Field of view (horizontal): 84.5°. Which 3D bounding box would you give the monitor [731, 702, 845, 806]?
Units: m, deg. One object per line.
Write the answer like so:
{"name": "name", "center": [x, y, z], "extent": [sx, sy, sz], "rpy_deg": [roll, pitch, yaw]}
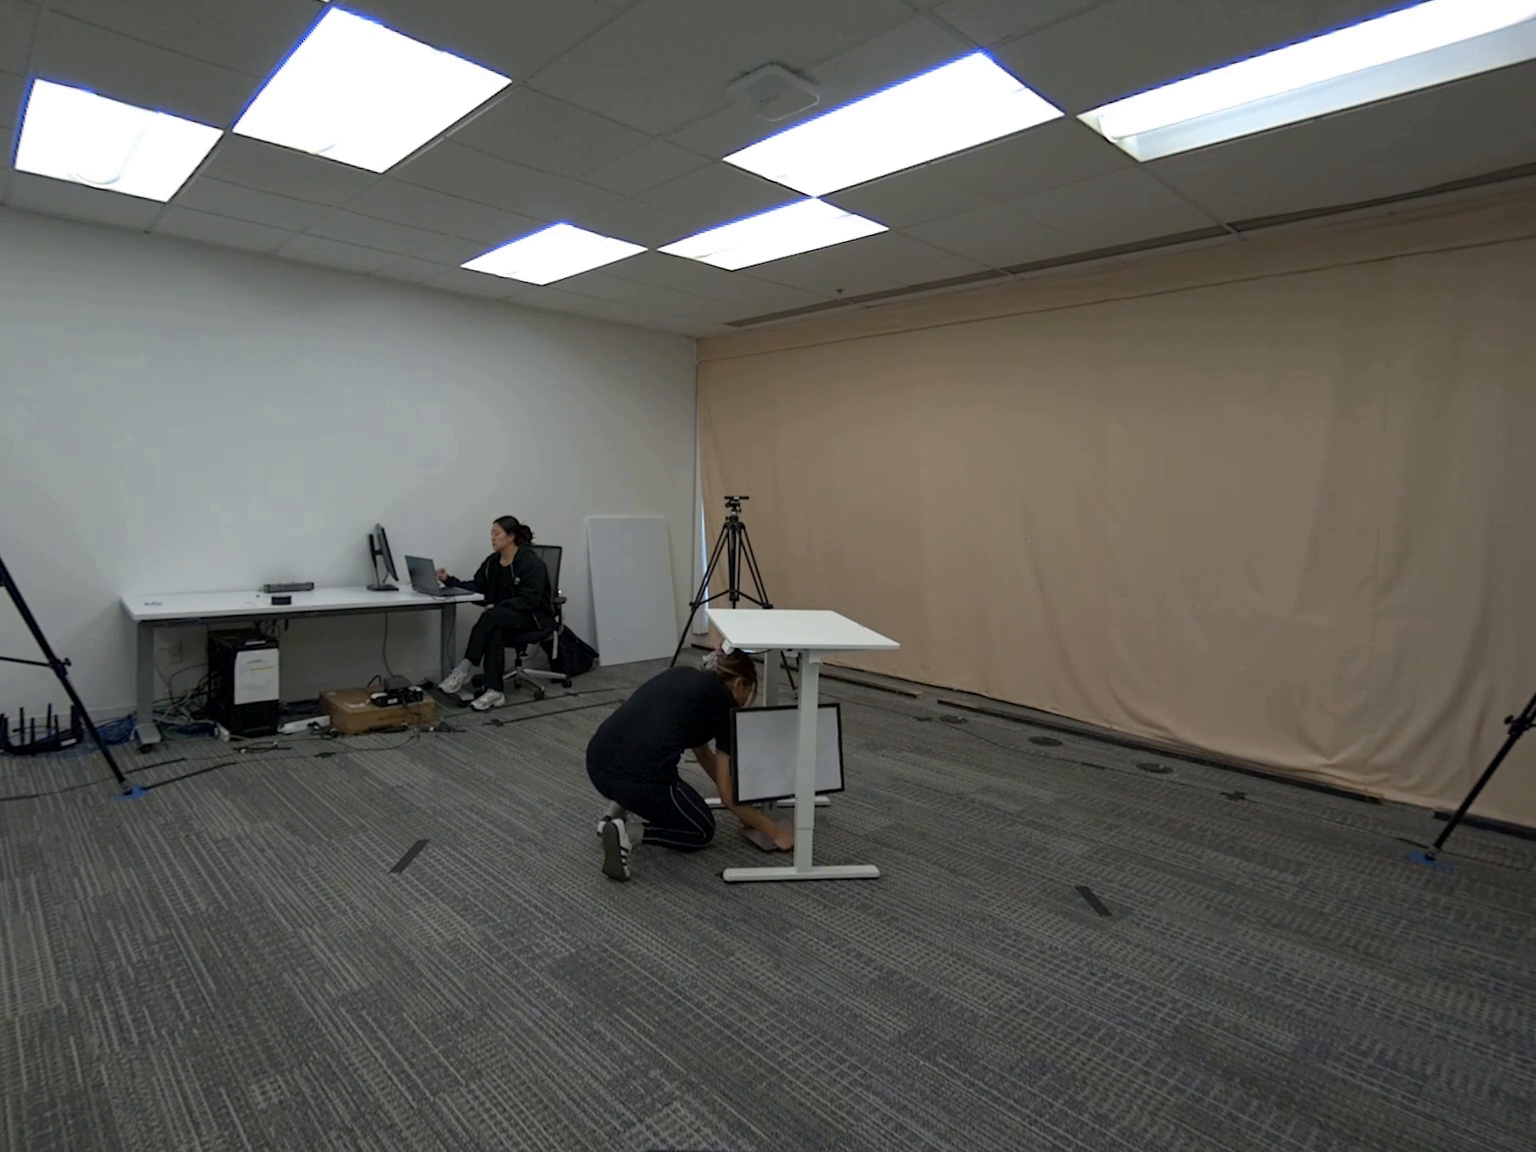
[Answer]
{"name": "monitor", "center": [0.053, 0.788, 3.415], "extent": [0.526, 0.522, 0.192], "rpy_deg": [4, 2, -38]}
